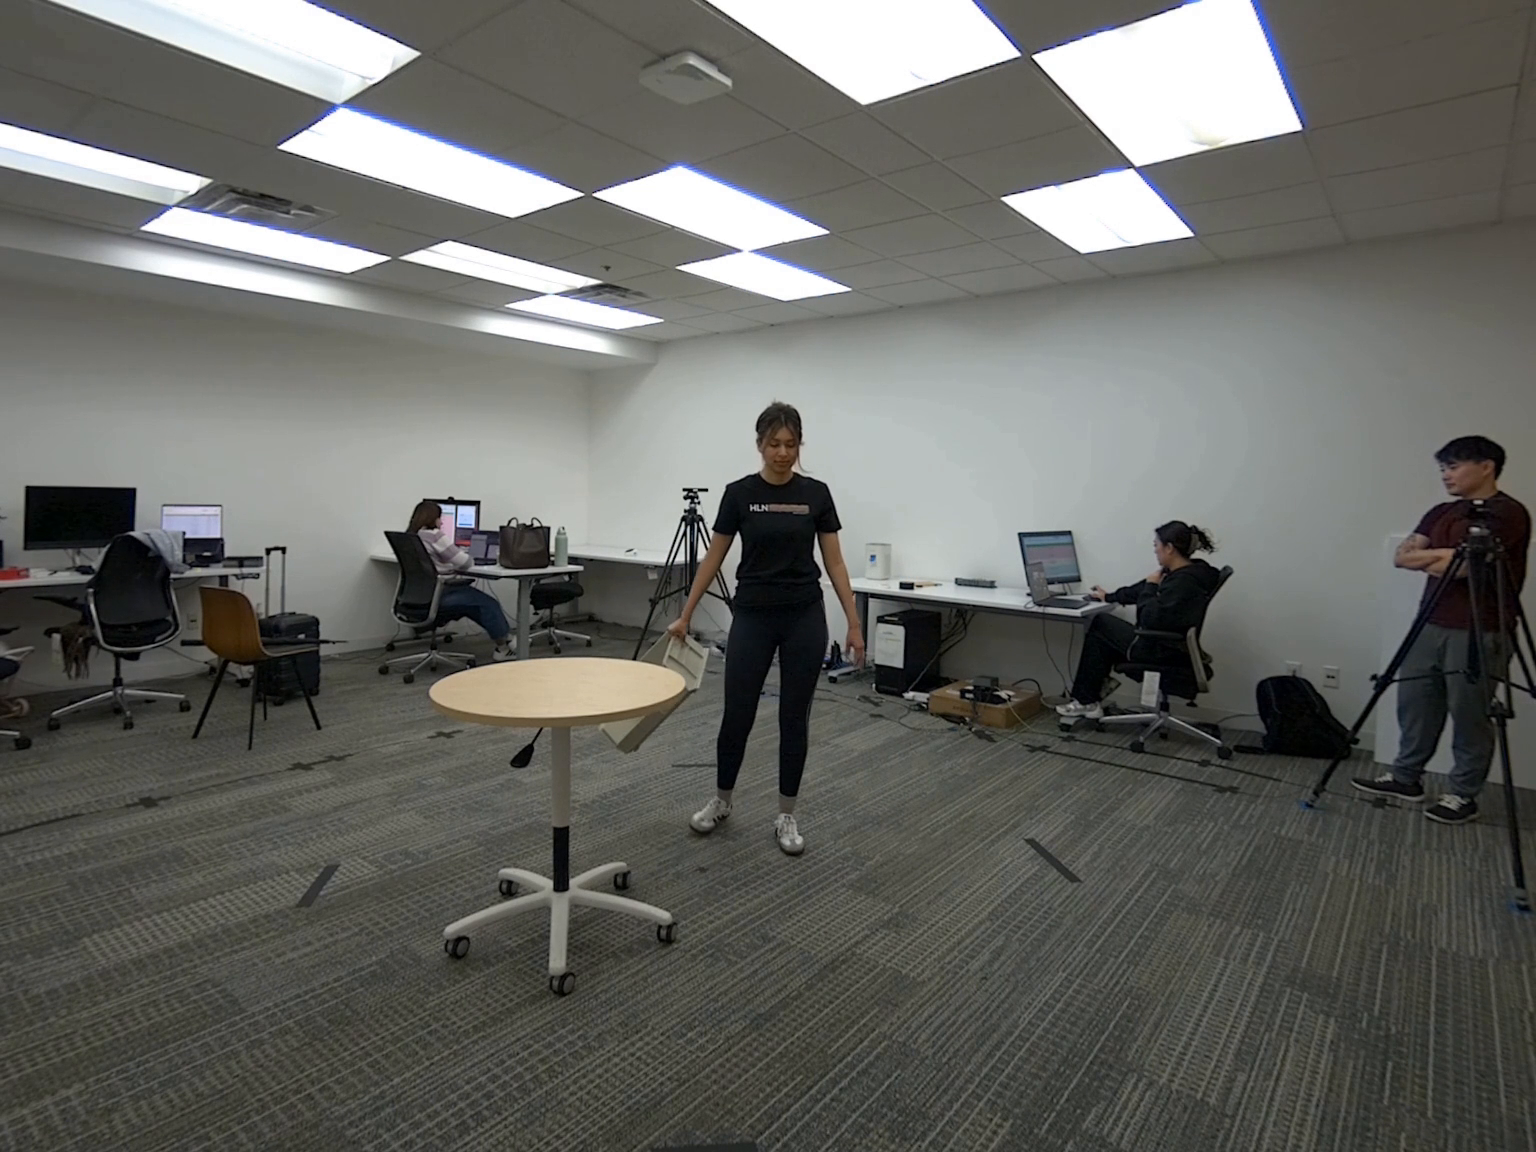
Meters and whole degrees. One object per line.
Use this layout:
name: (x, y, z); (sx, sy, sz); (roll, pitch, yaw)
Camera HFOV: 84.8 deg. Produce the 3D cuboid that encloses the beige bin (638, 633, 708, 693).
beige bin: (-0.468, 0.457, 3.439); (0.187, 0.422, 0.382); (39, 21, -10)
